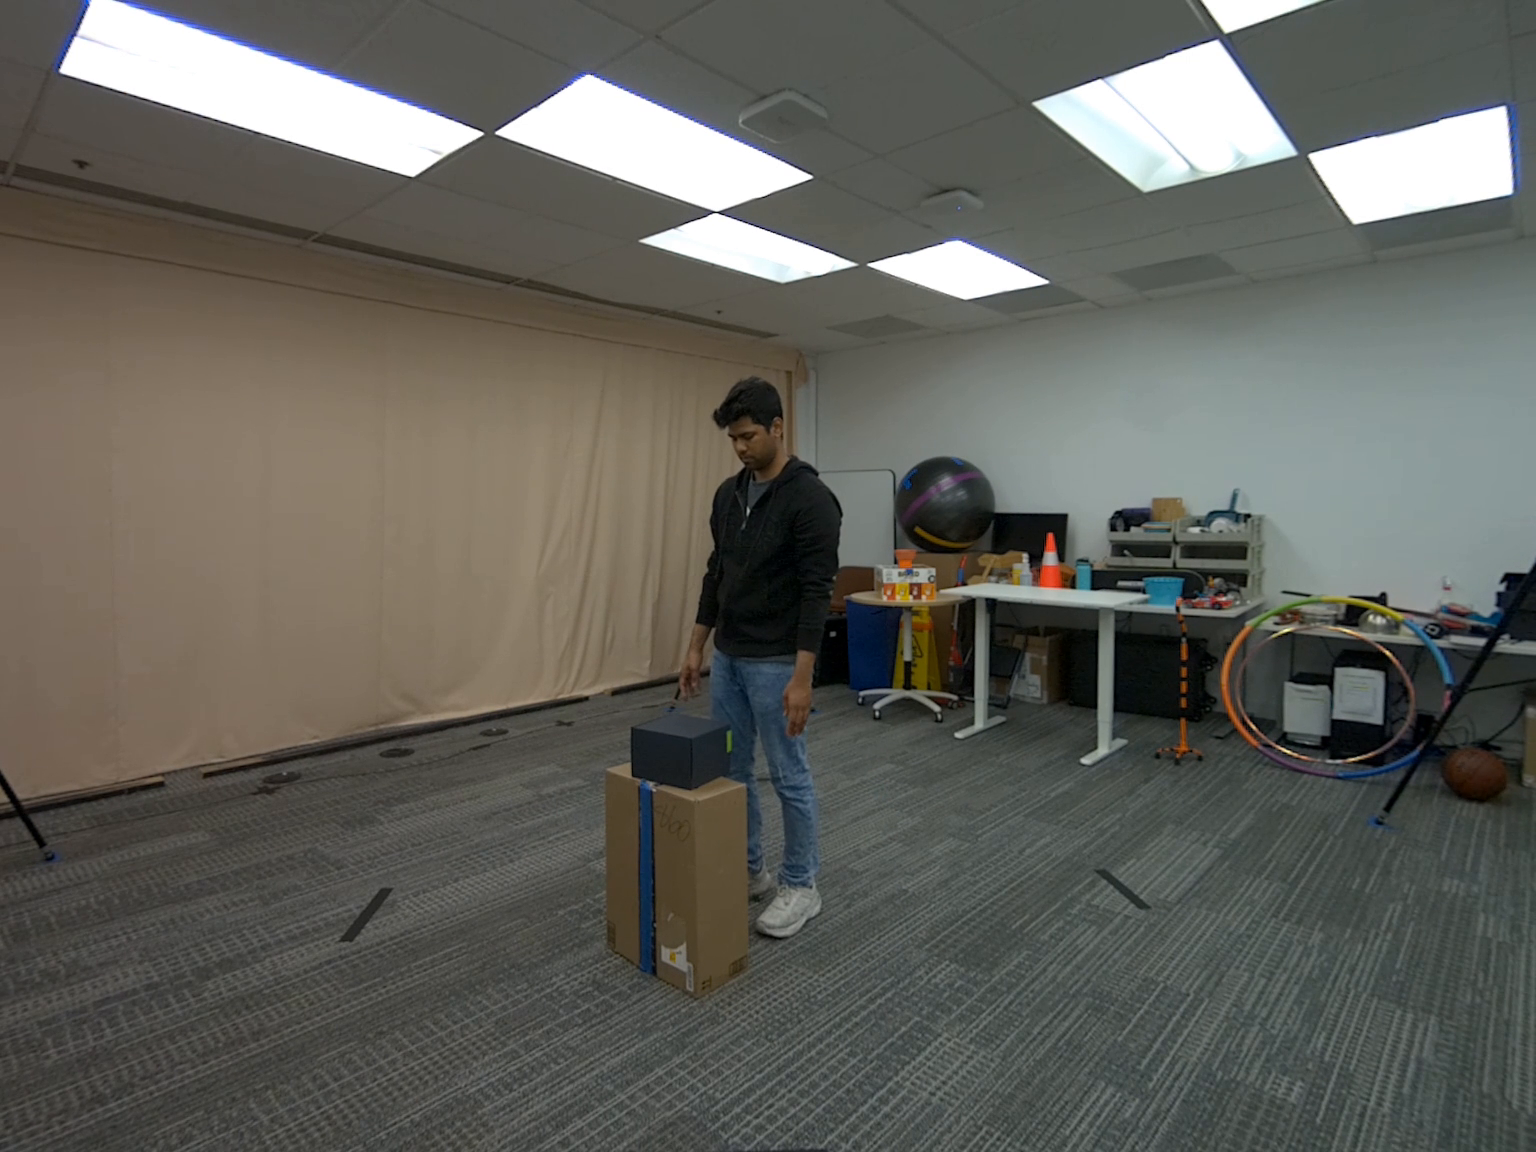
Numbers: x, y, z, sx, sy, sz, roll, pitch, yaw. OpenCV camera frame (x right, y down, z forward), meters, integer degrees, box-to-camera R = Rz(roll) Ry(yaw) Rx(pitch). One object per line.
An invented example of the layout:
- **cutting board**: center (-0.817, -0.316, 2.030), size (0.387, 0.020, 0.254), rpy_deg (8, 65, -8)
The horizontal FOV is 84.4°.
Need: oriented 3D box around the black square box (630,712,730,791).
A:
- **black square box**: center (-0.267, 0.536, 2.583), size (0.235, 0.155, 0.211), rpy_deg (3, 4, 31)
